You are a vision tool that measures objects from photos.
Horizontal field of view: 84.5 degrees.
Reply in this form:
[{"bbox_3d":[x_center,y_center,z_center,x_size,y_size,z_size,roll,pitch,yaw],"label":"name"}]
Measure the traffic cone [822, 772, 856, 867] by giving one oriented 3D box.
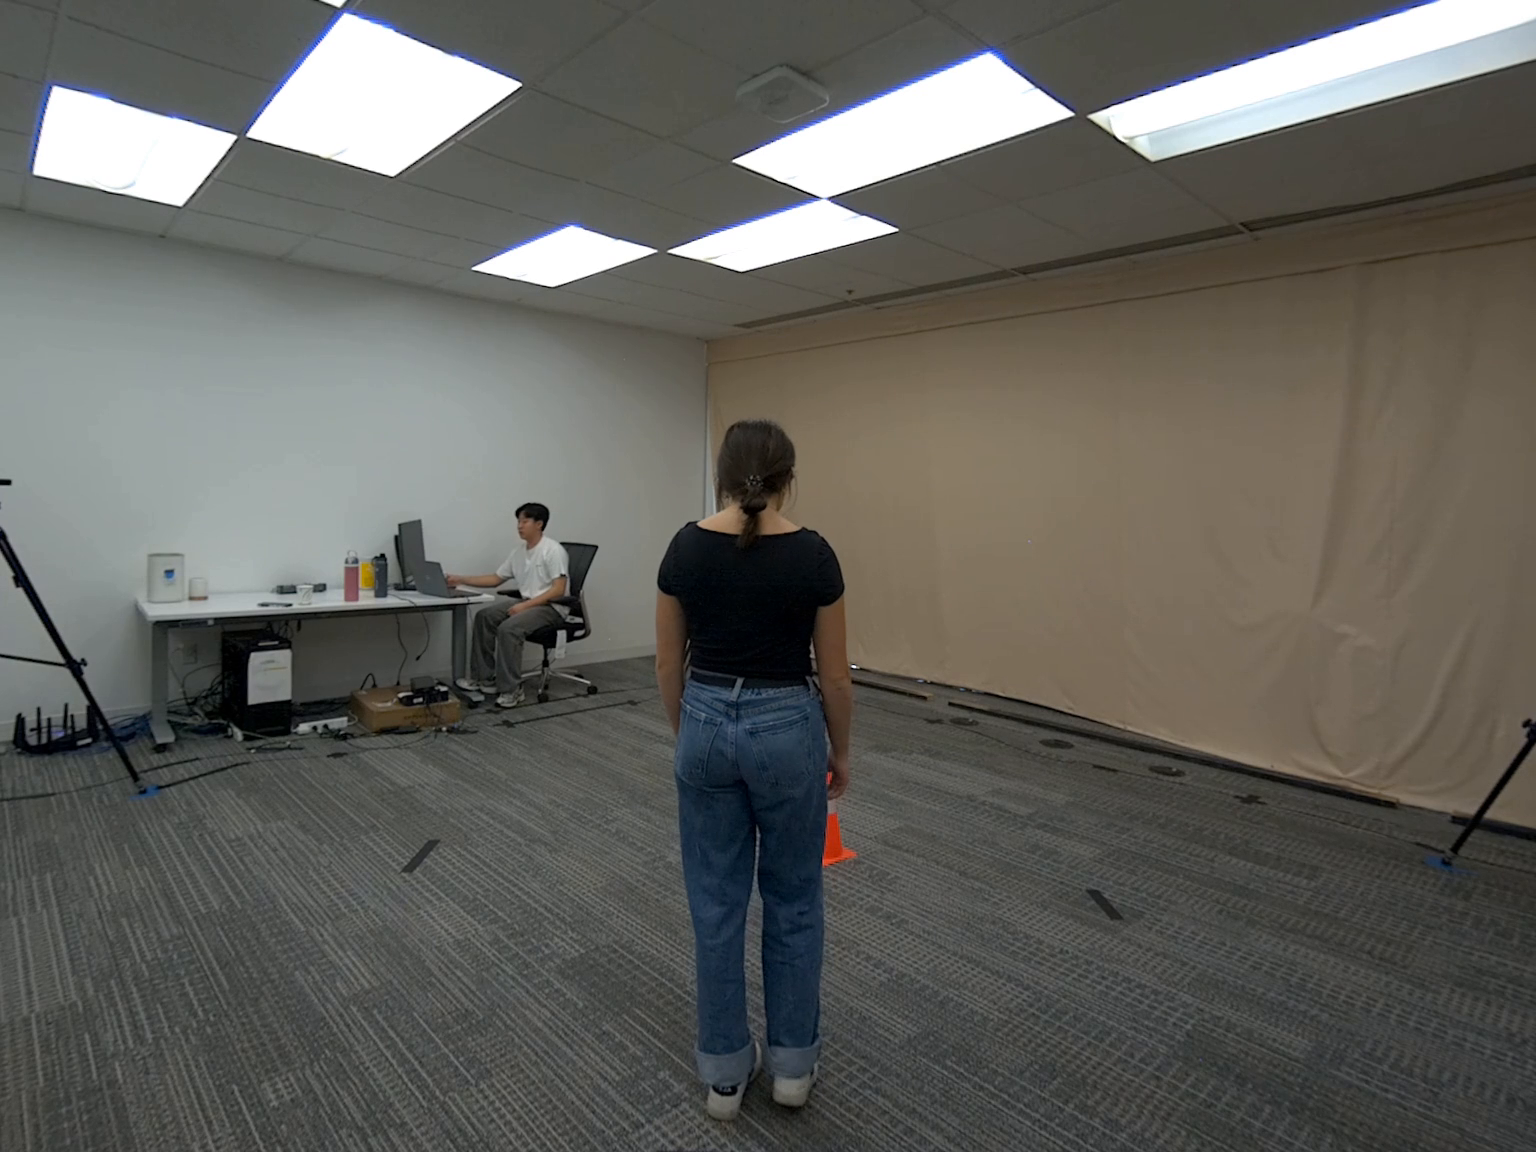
[{"bbox_3d":[0.214,0.916,3.342,0.200,0.383,0.208,0,1,-37],"label":"traffic cone"}]
